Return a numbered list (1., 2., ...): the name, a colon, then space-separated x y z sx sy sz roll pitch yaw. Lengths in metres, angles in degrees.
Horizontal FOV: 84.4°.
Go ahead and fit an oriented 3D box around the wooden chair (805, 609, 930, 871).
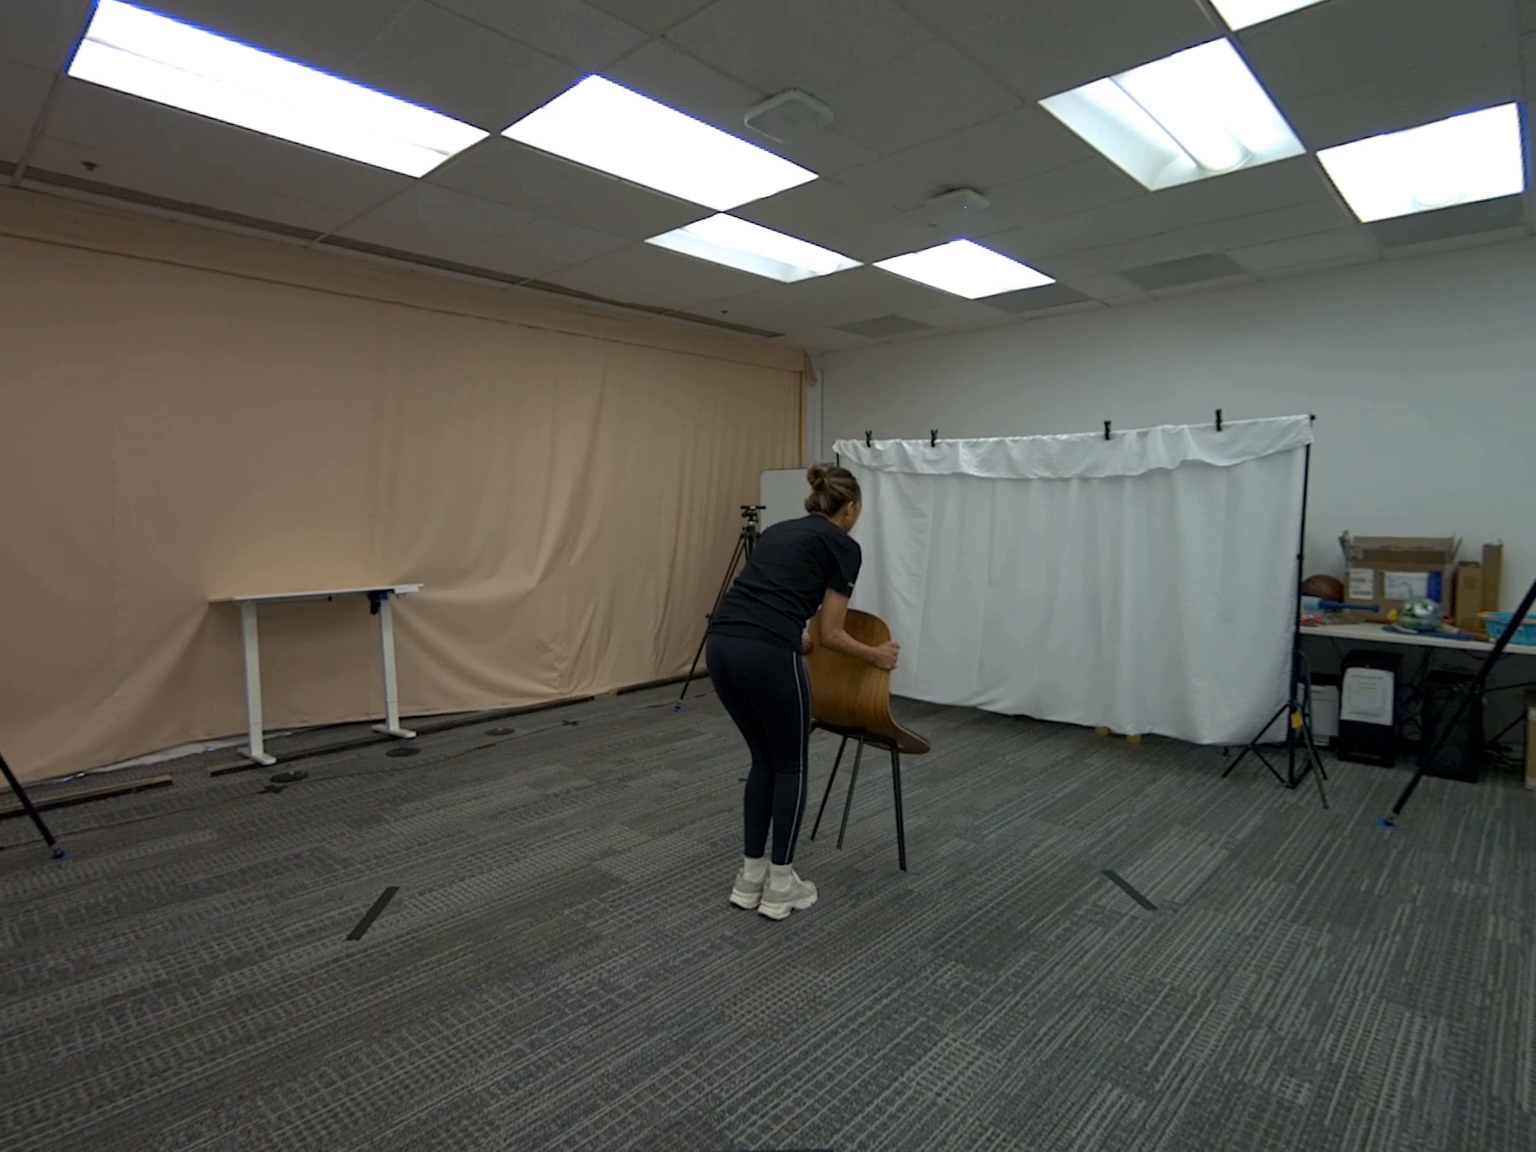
1. wooden chair: 0.338 0.612 3.262 0.494 0.881 0.504 1 -18 43
